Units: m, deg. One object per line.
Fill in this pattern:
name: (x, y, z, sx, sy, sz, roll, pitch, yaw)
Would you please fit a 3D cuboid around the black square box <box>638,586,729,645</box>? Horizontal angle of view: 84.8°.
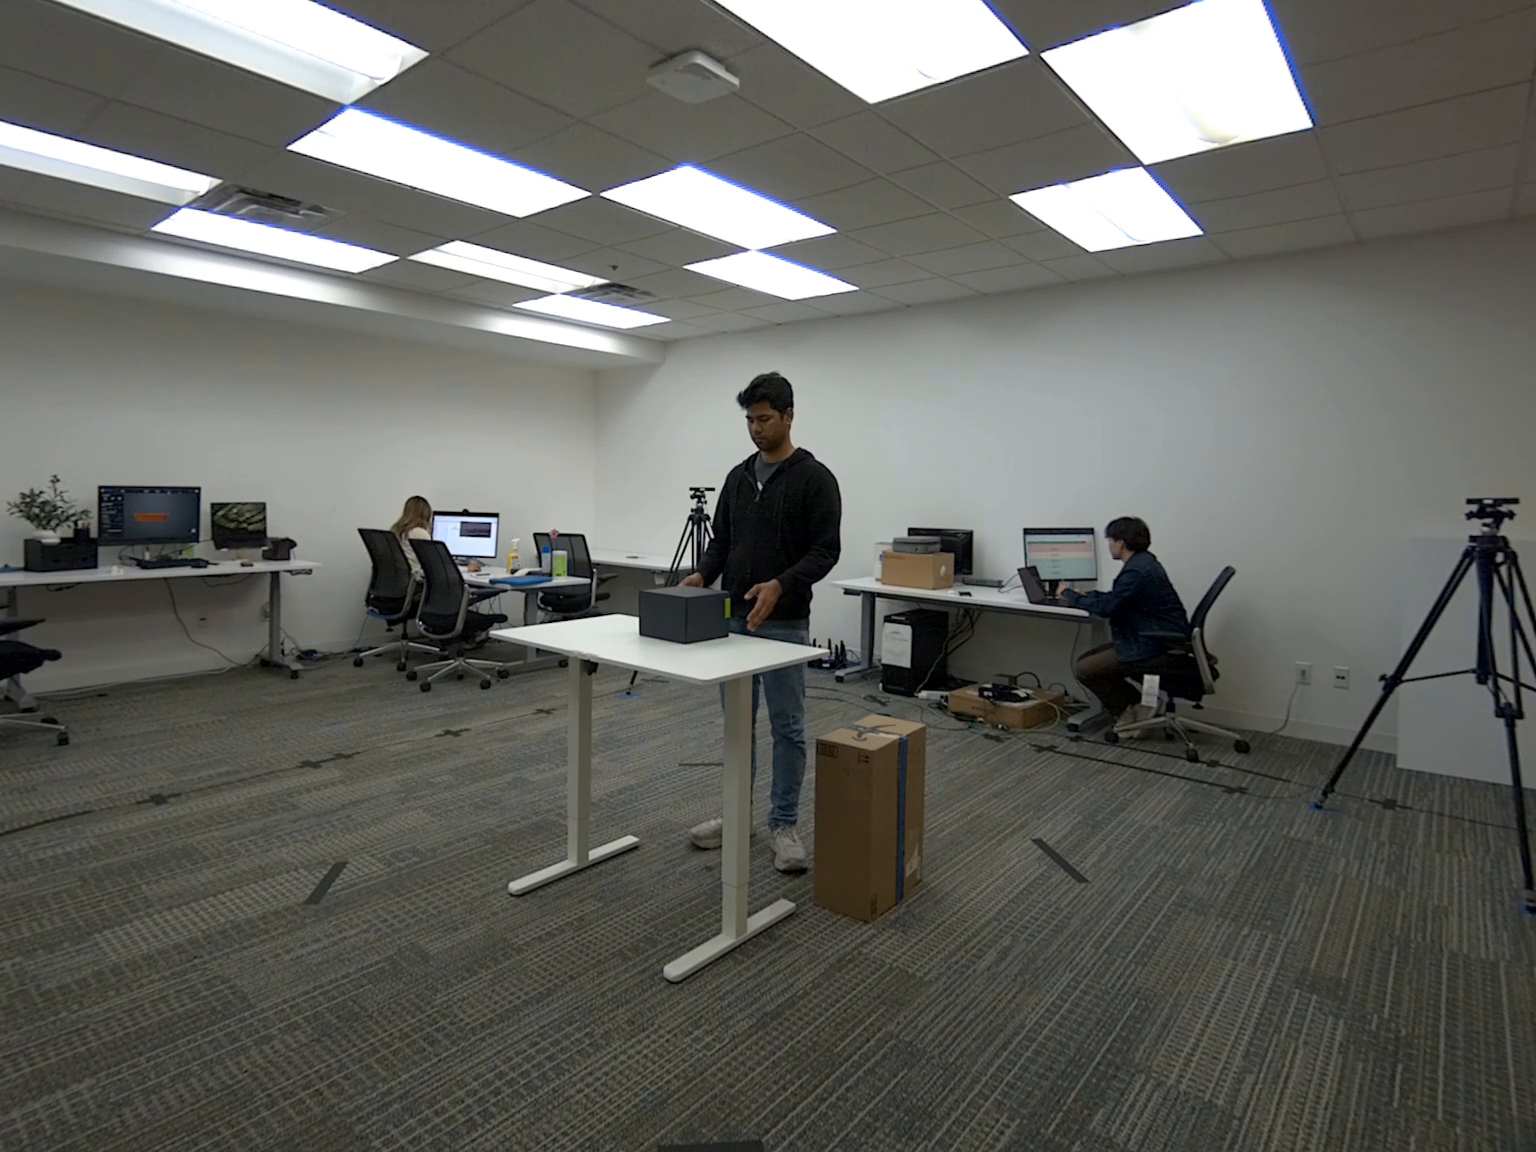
black square box: (-0.304, 0.128, 2.885, 0.236, 0.155, 0.210, 6, 7, 41)
